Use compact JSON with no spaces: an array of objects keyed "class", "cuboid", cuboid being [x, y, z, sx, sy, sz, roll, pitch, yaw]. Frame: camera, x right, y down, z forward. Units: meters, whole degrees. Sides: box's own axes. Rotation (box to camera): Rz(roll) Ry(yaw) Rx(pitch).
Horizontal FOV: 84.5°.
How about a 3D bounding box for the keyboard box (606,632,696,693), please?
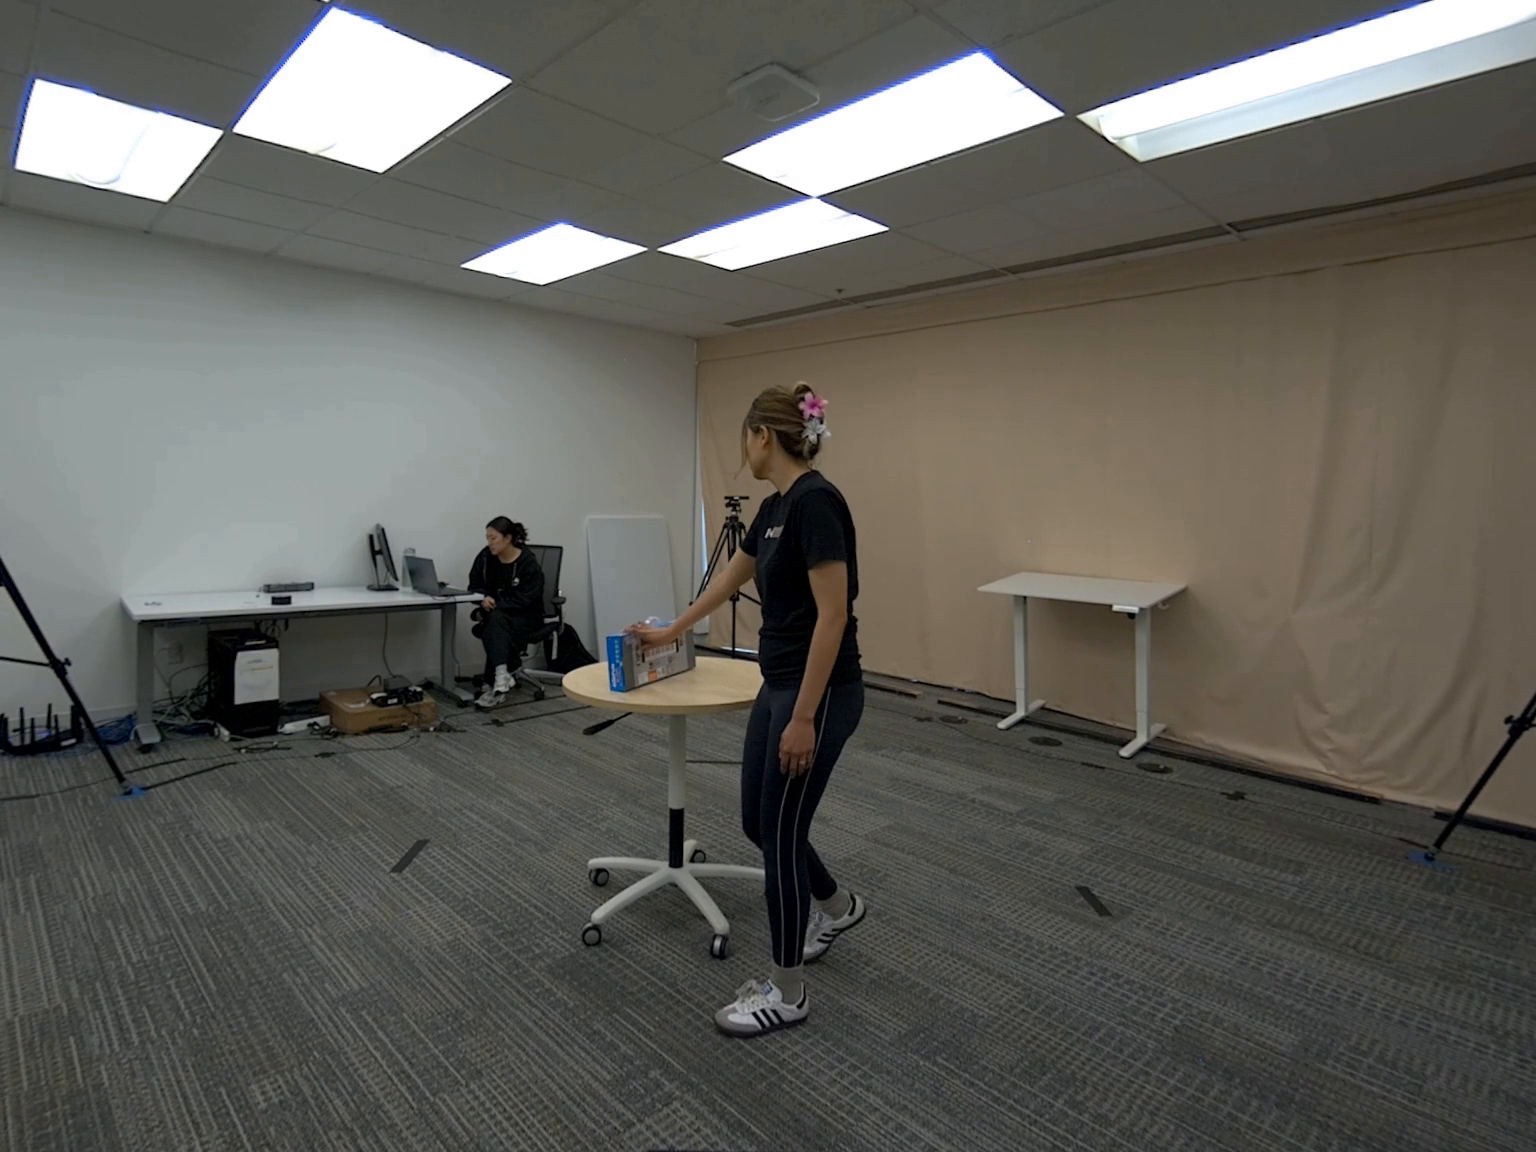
[{"class":"keyboard box","cuboid":[-0.383,0.257,2.789,0.060,0.175,0.429,-2,3,26]}]
